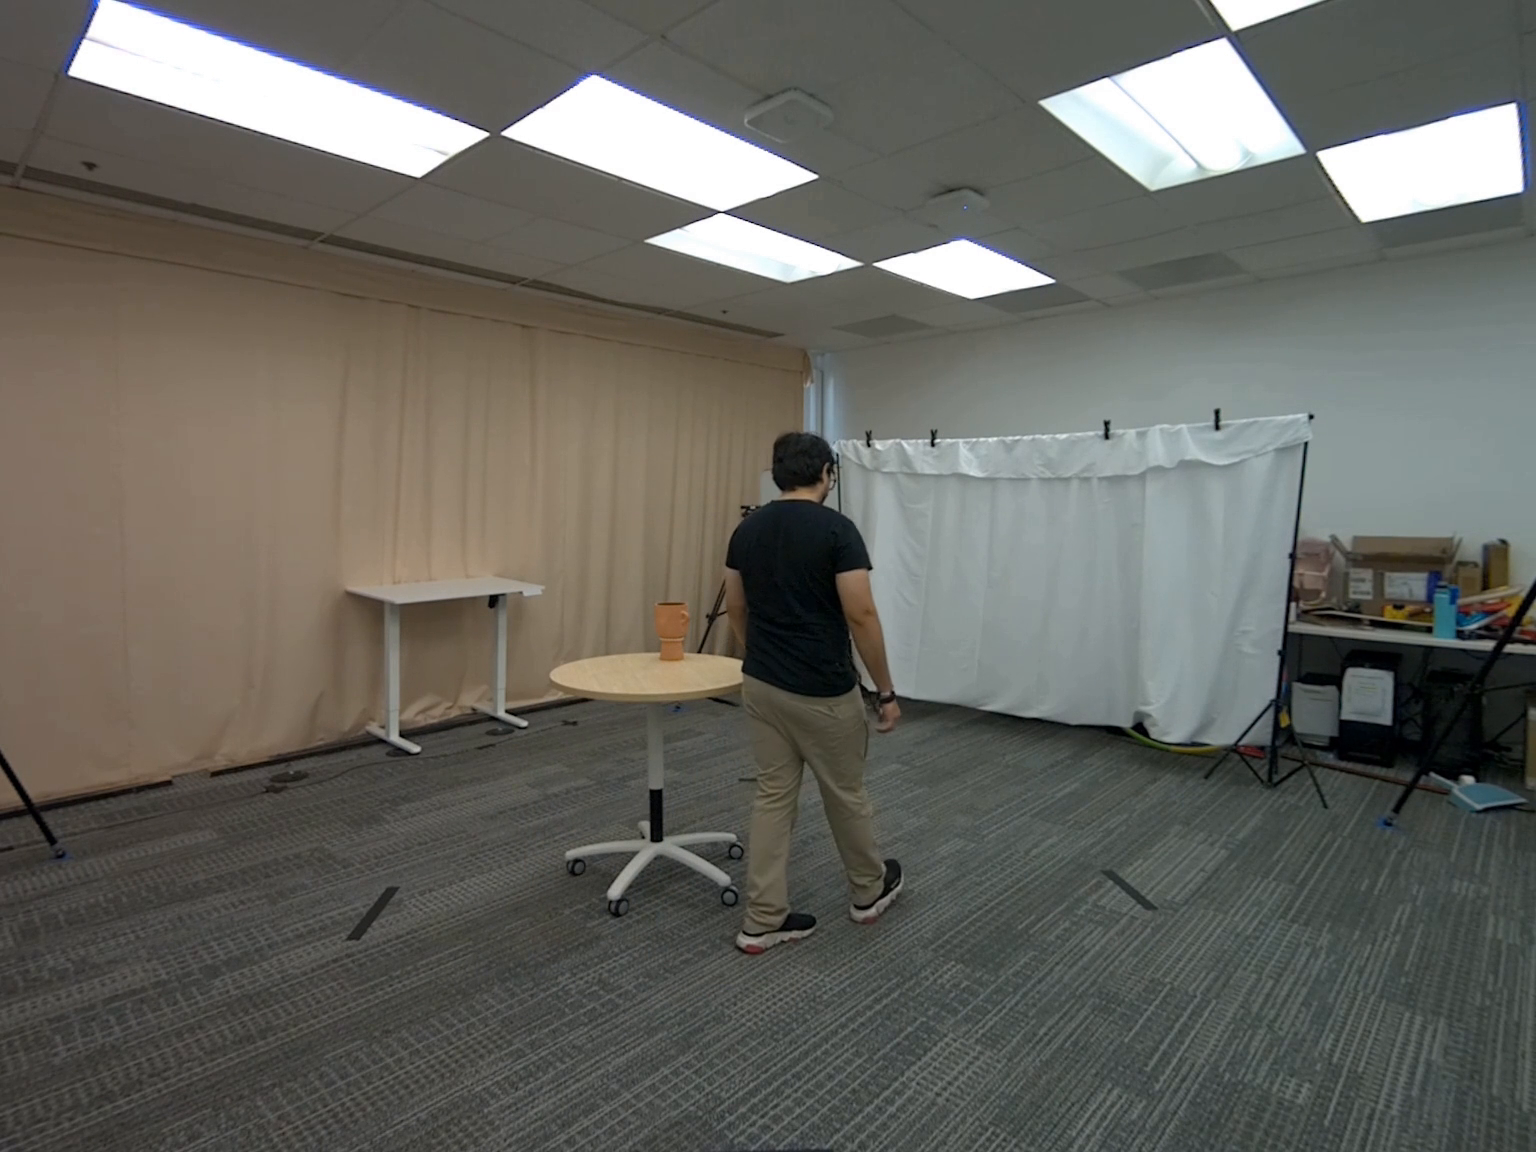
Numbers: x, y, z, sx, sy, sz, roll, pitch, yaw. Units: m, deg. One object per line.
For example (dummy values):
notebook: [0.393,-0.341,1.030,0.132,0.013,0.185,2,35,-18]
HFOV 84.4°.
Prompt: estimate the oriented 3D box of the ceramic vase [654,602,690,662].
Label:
ceramic vase: [-0.385,0.223,3.366,0.133,0.219,0.161,-2,4,-10]
